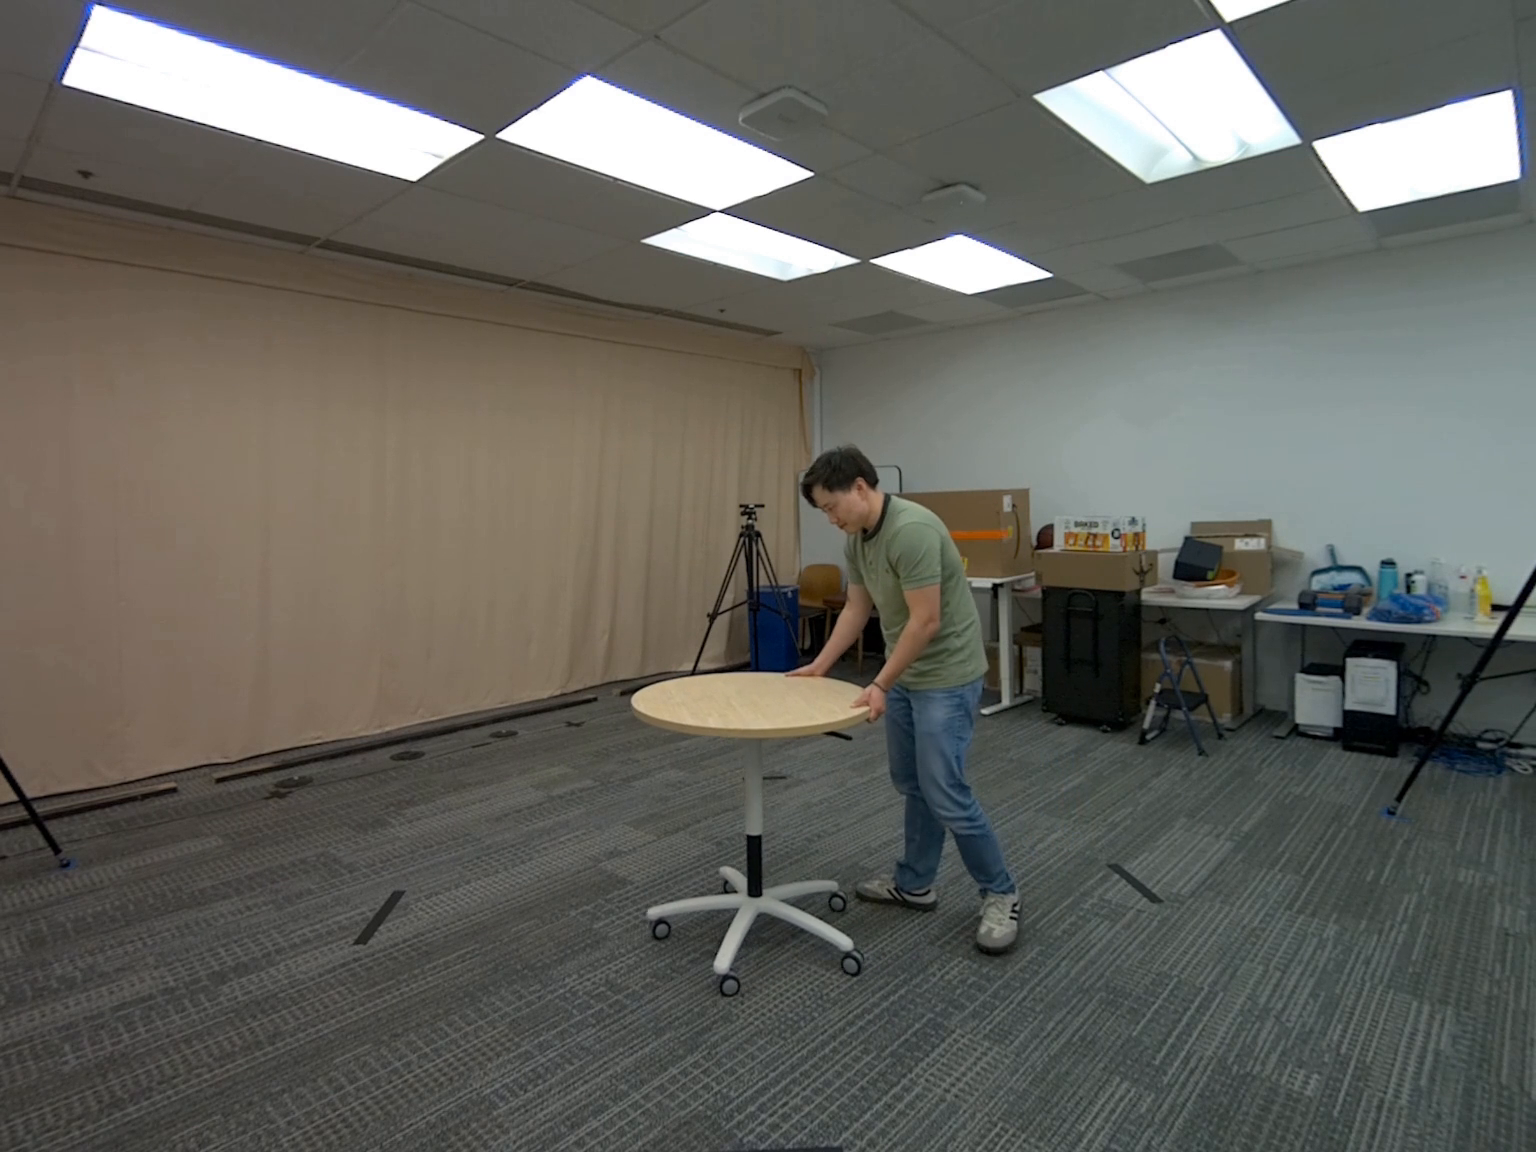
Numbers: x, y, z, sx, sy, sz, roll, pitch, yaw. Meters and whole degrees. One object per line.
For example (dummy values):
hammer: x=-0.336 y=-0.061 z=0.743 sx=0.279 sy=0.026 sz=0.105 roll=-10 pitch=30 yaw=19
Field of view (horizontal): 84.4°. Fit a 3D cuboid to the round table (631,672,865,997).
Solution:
round table: x=-0.038 y=0.781 z=2.693 sx=0.763 sy=0.792 sz=0.767 roll=-1 pitch=4 yaw=-2
